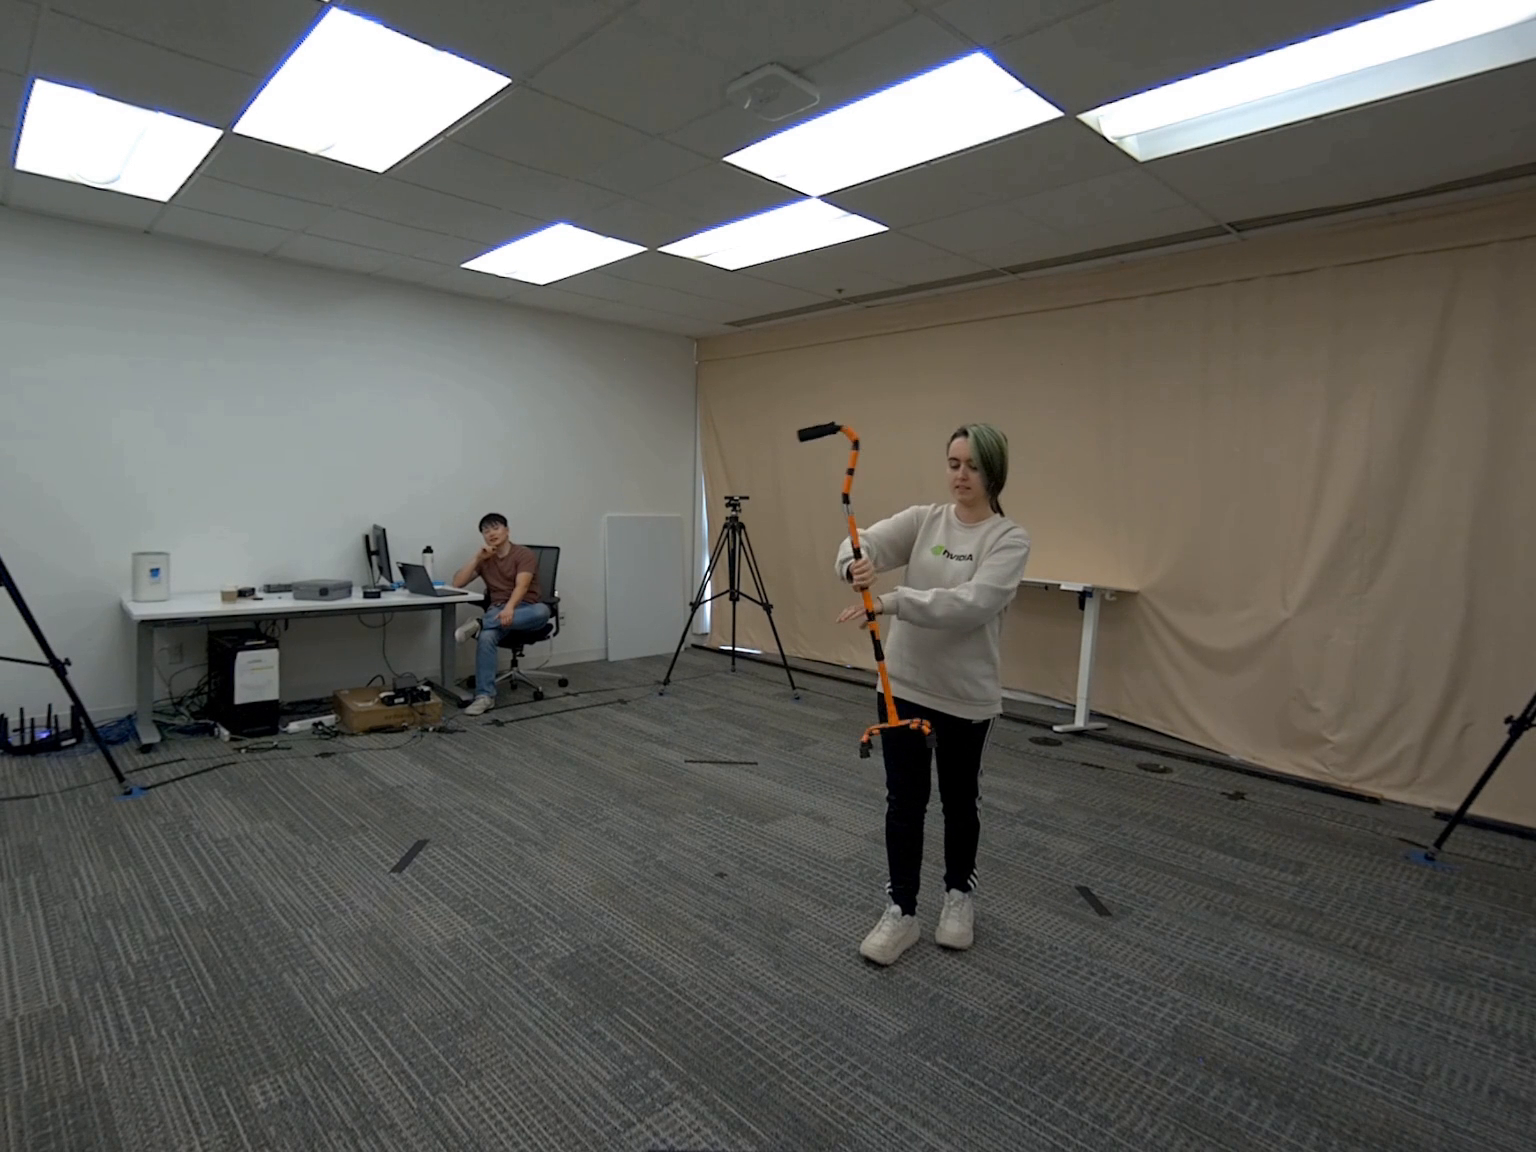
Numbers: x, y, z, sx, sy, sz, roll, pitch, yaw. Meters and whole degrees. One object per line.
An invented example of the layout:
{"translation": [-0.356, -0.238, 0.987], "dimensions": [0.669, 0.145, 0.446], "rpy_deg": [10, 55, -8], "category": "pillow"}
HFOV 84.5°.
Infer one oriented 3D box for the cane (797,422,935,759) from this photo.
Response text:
{"translation": [0.264, 0.016, 2.305], "dimensions": [0.206, 0.911, 0.151], "rpy_deg": [-10, -3, 1], "category": "cane"}
